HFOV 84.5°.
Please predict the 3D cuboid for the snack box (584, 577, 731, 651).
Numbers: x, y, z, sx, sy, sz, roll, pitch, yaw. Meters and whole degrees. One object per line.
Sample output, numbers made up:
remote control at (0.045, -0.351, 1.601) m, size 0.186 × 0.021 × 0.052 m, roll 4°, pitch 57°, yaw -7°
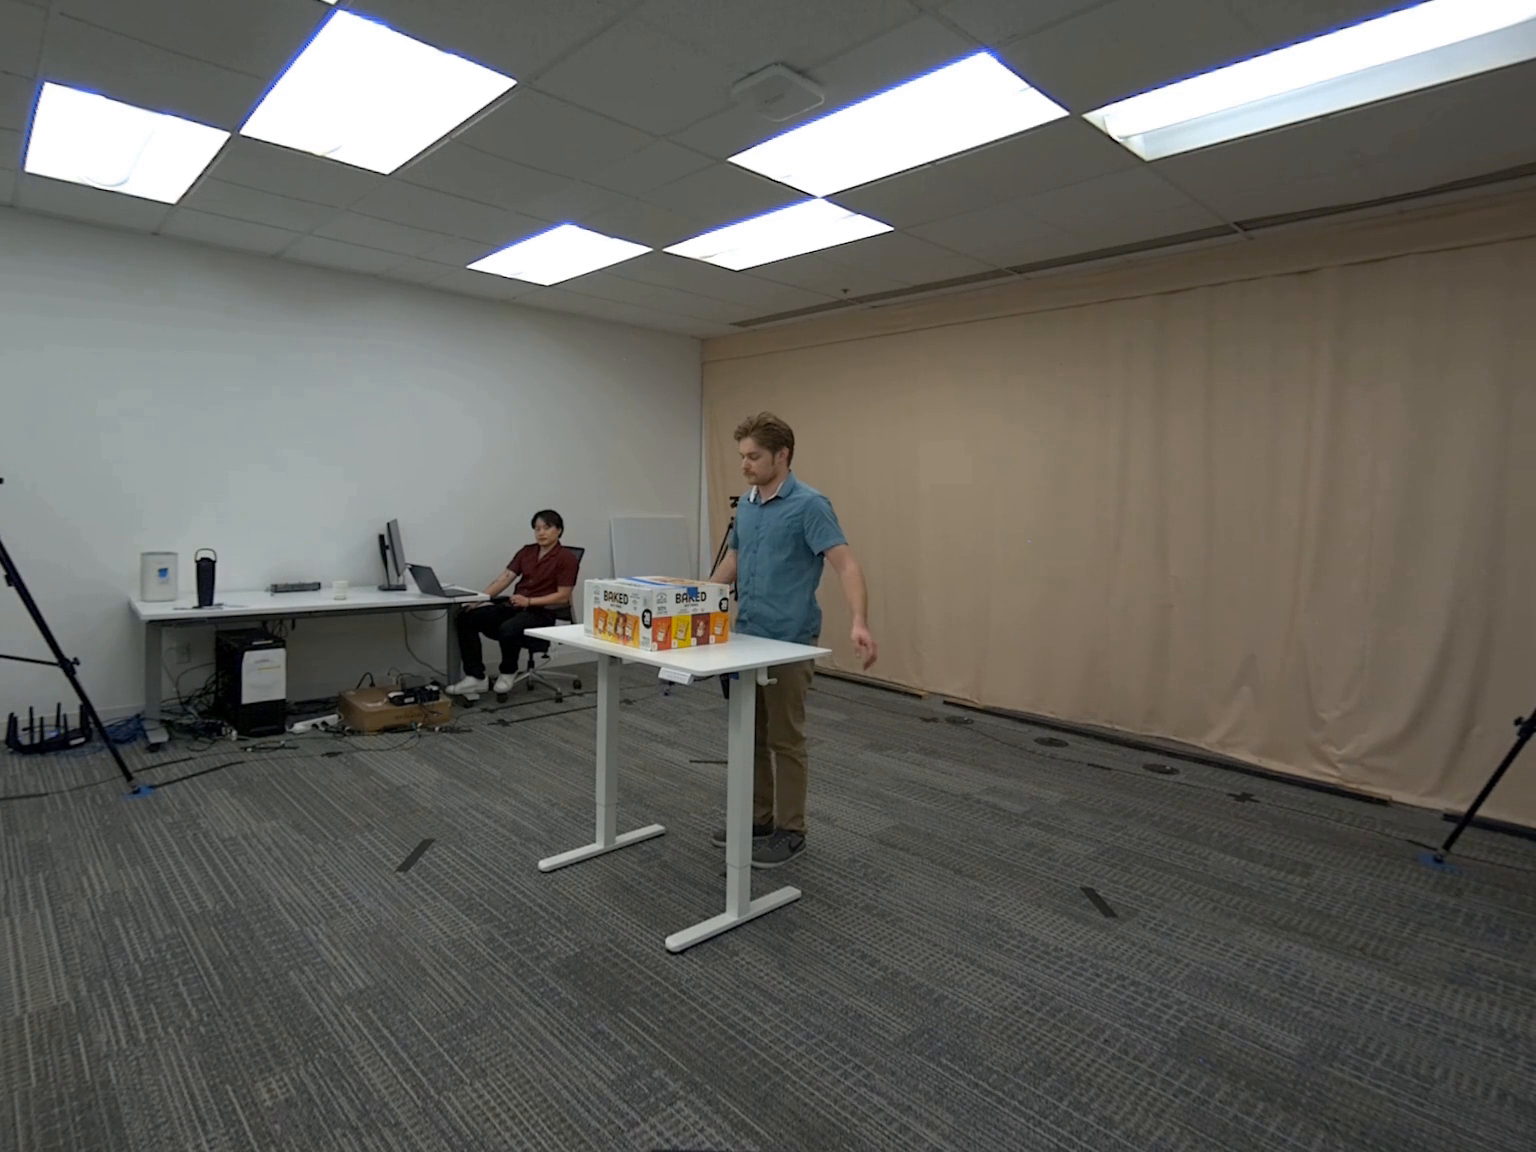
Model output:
snack box at (-0.406, 0.124, 2.991) m, size 0.332 × 0.205 × 0.415 m, roll -2°, pitch 6°, yaw -44°
